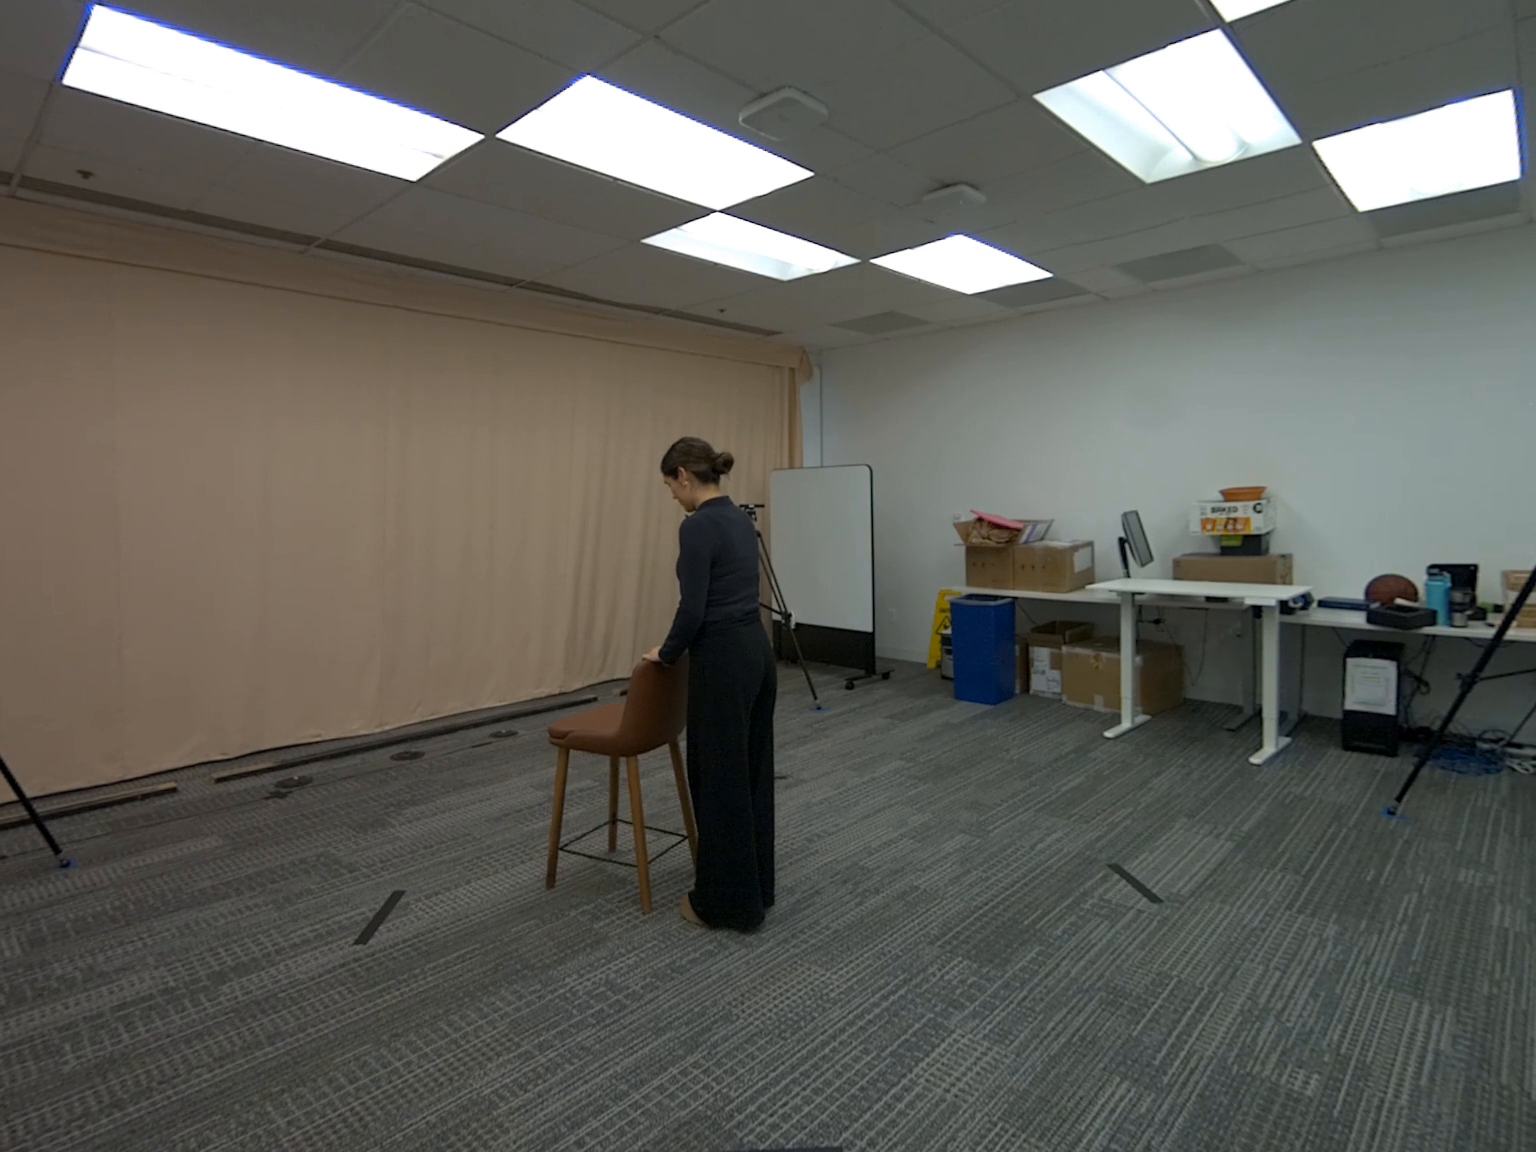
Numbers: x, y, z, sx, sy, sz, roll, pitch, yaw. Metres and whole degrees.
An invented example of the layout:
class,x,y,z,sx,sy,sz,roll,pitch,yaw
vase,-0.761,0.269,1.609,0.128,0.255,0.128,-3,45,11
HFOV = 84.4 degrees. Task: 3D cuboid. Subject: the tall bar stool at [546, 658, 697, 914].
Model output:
class,x,y,z,sx,sy,sz,roll,pitch,yaw
tall bar stool,-0.523,0.699,3.132,0.481,0.887,0.445,3,5,29
